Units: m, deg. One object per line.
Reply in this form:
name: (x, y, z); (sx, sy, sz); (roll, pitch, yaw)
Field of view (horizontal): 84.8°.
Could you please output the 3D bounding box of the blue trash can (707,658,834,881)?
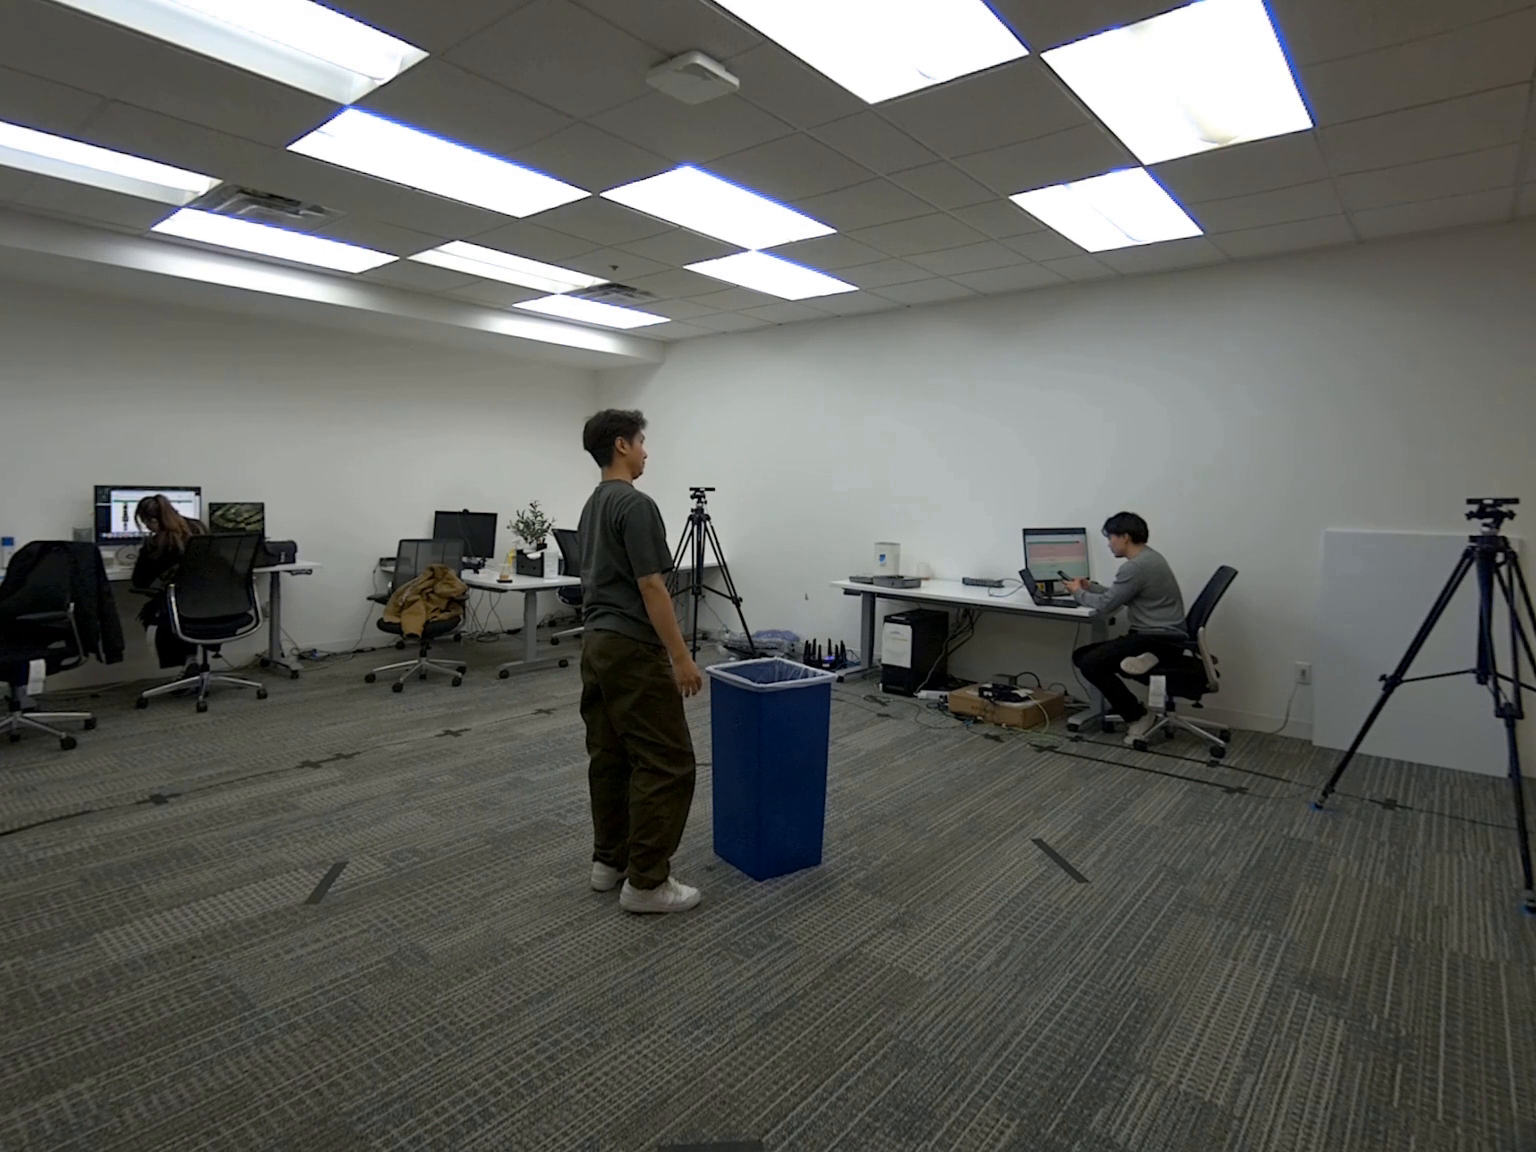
blue trash can: (-0.014, 0.703, 3.198); (0.367, 0.711, 0.386); (-2, 5, -36)
